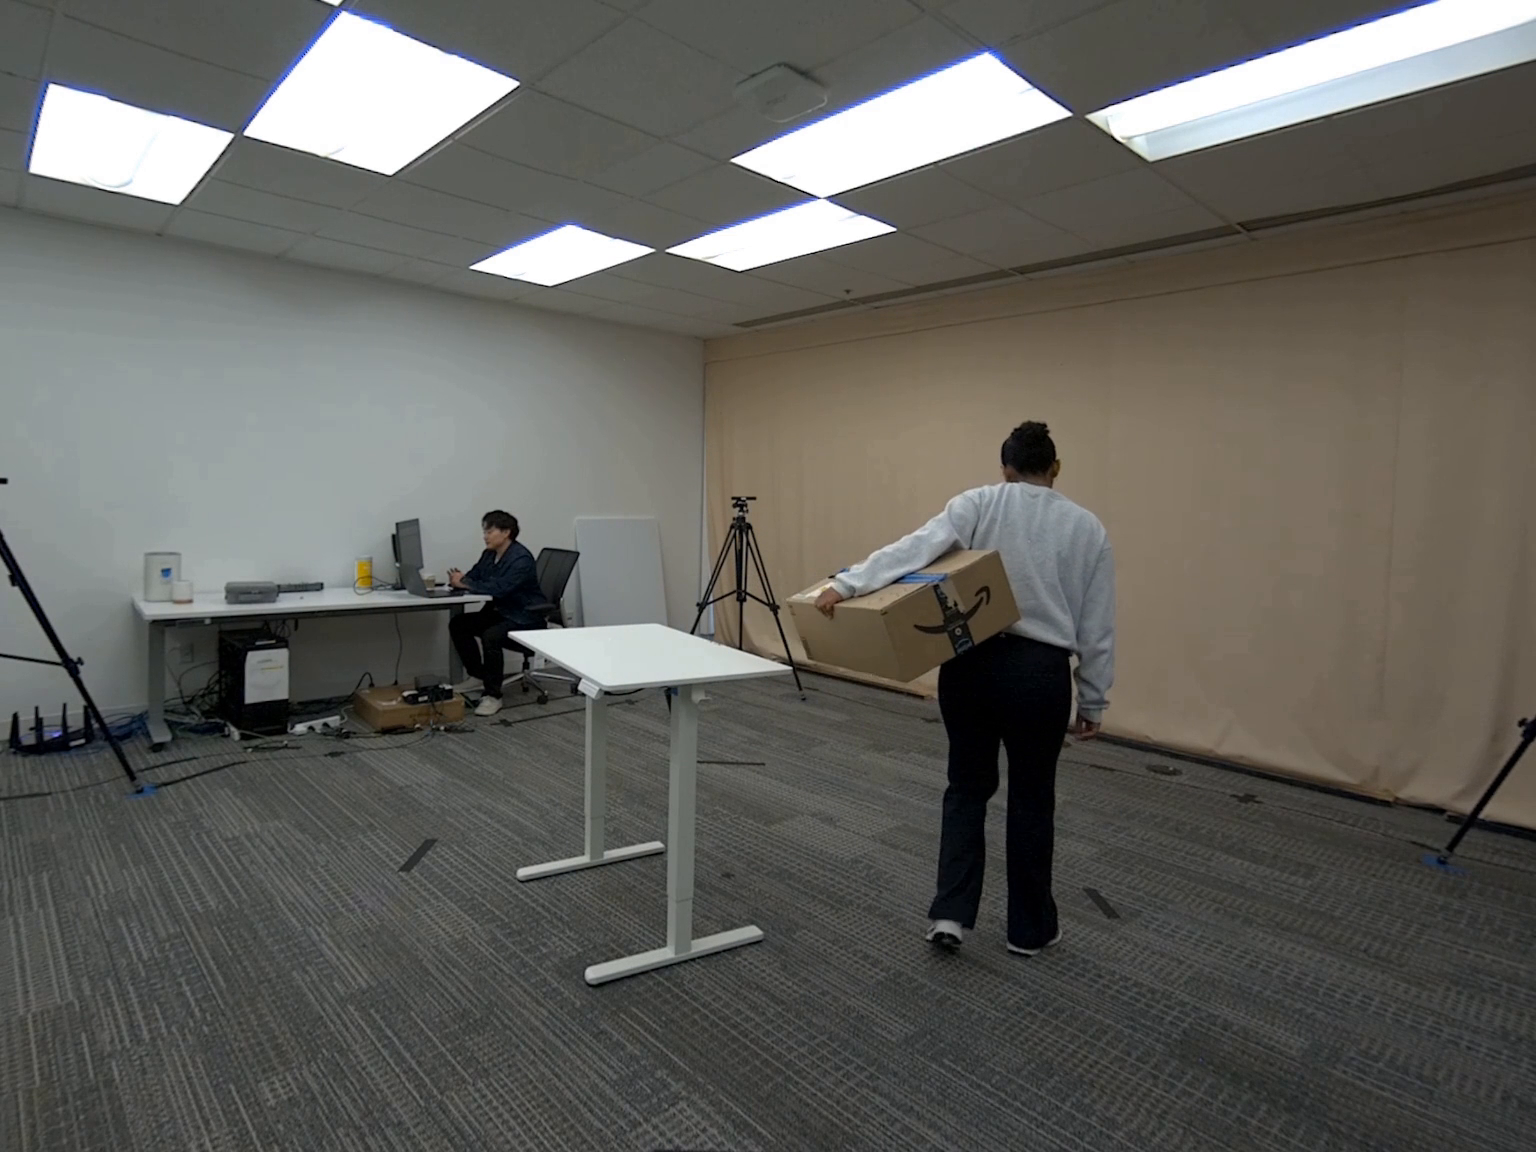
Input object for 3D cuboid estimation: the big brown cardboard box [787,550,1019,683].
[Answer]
[{"bbox_3d":[0.364,0.097,2.540,0.414,0.231,0.599,-25,11,-22],"label":"big brown cardboard box"}]
